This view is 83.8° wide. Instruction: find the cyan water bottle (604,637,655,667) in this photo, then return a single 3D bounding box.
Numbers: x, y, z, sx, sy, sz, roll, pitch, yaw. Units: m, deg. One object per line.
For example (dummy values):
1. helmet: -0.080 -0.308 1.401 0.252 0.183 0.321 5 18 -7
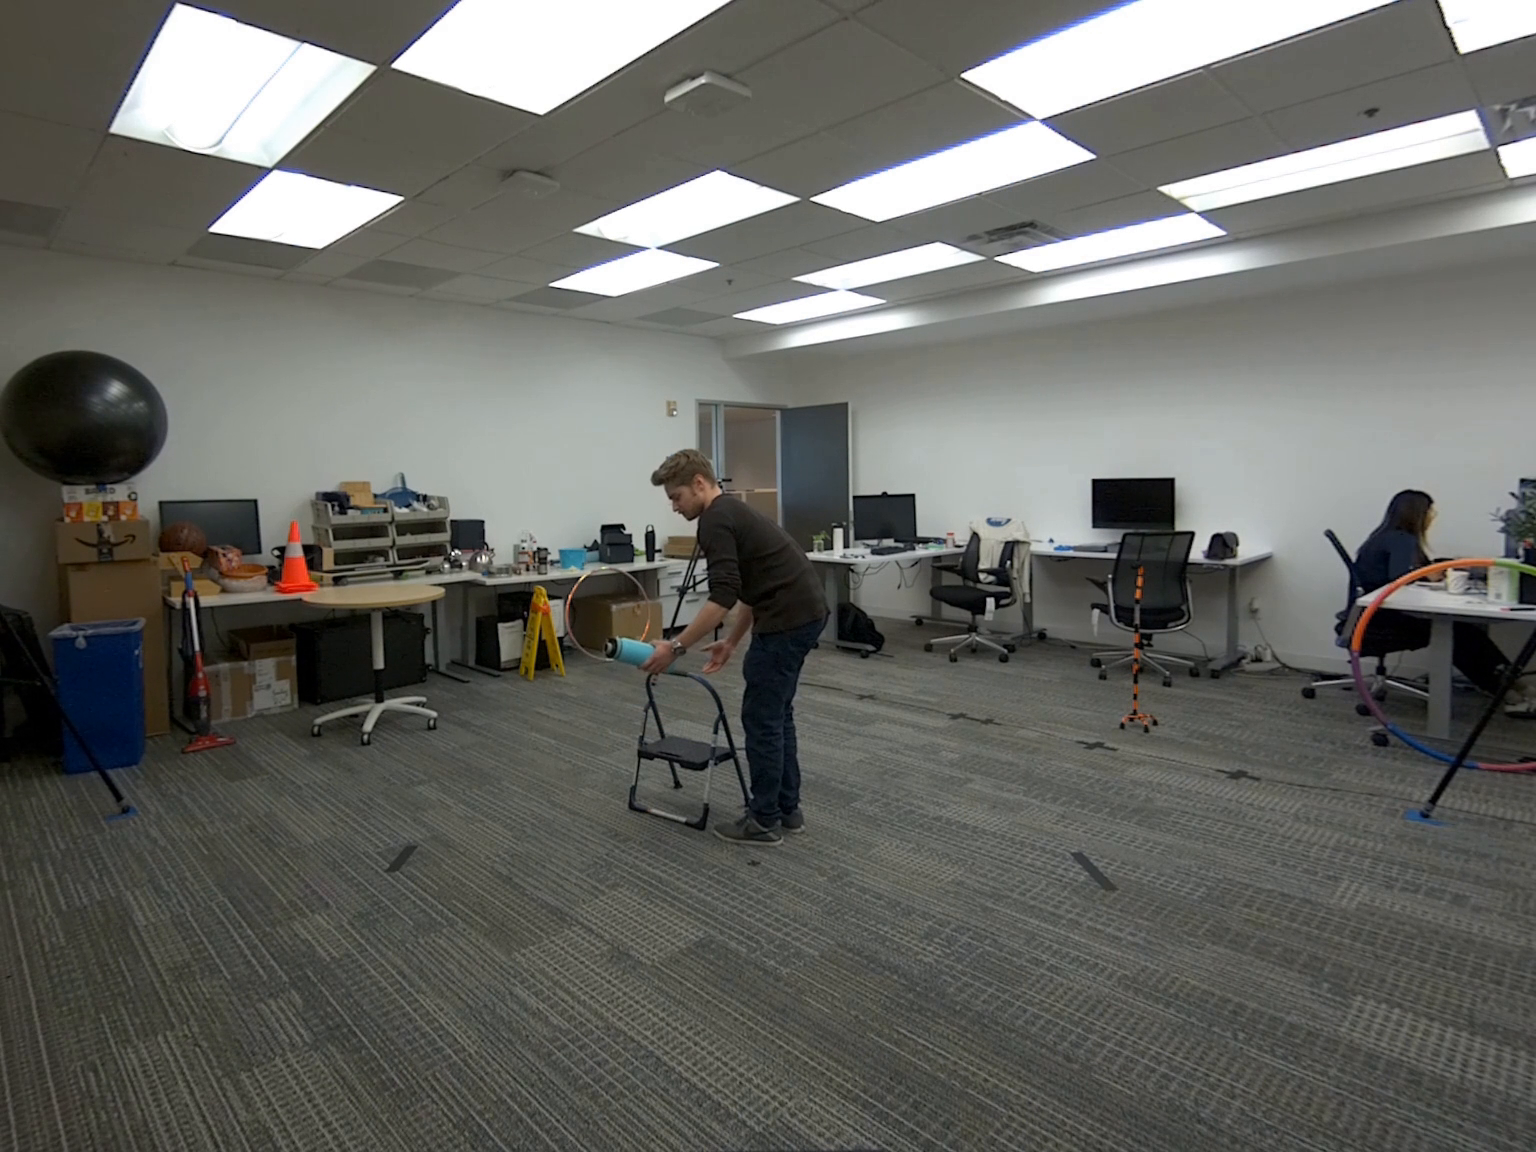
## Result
1. cyan water bottle: -0.475 0.289 3.147 0.274 0.093 0.095 19 -7 -32
